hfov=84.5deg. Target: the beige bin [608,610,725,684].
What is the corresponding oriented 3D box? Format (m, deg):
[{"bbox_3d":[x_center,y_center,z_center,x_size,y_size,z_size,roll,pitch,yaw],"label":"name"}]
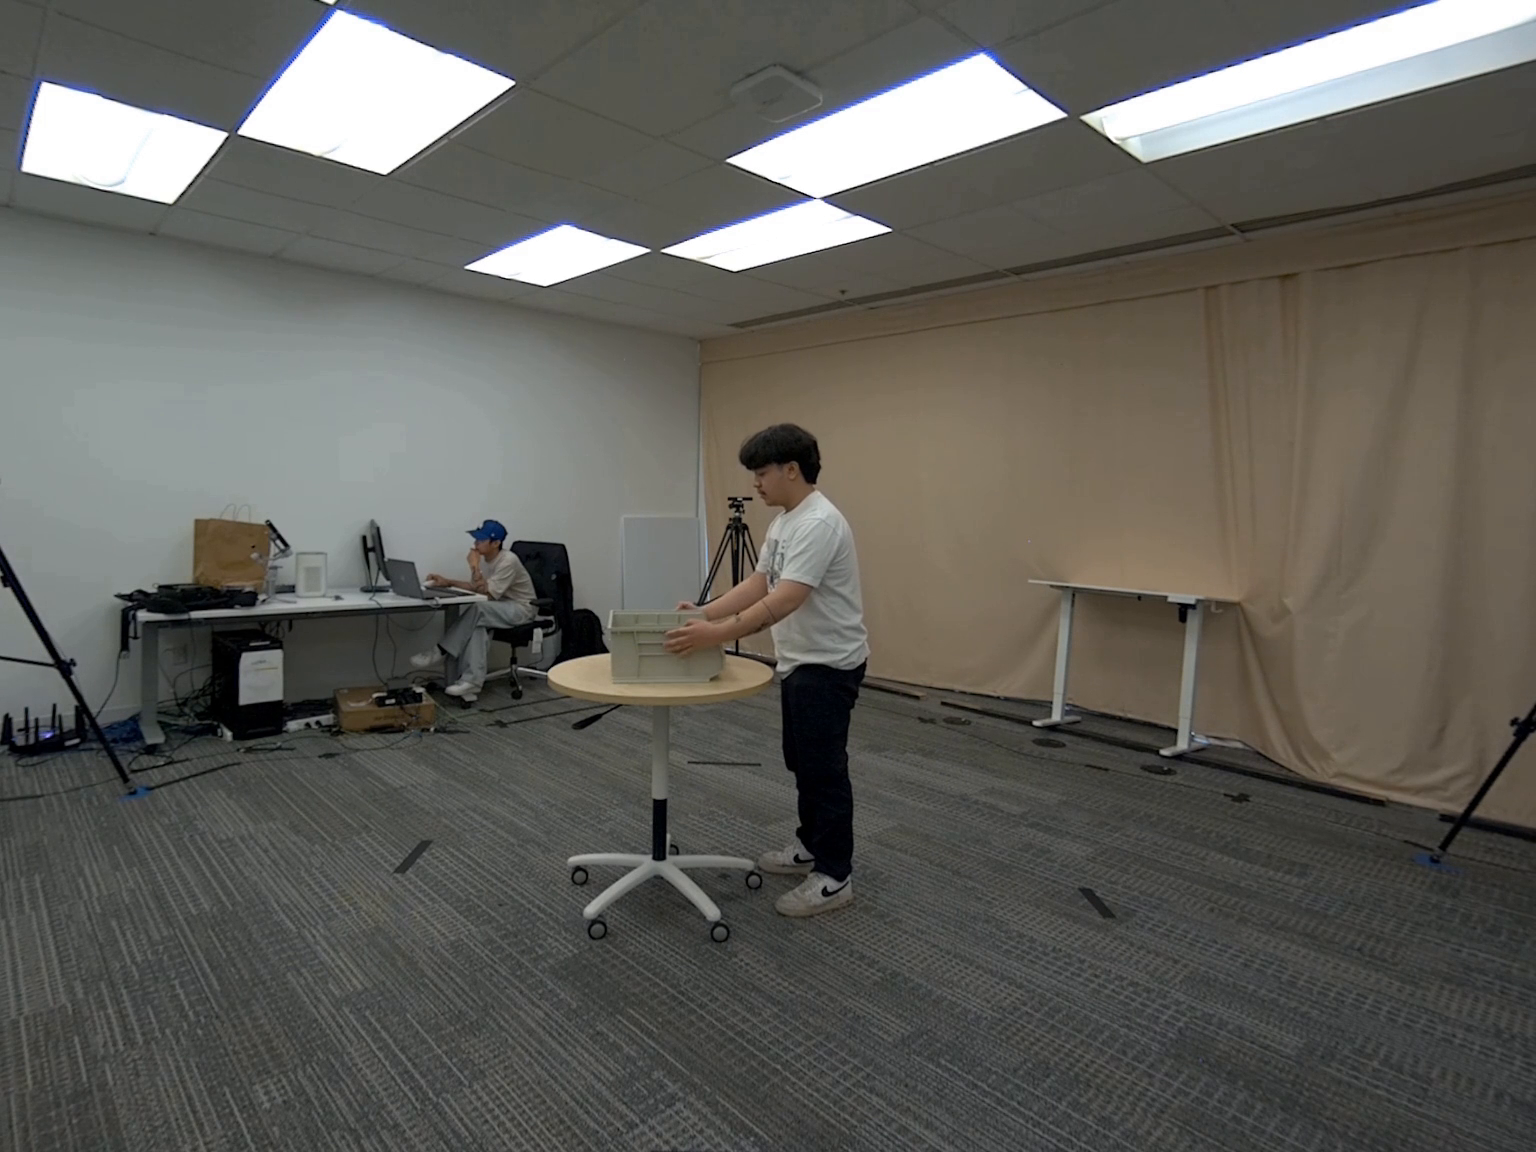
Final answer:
[{"bbox_3d":[-0.356,0.234,2.896,0.374,0.188,0.427,-2,6,-10],"label":"beige bin"}]
